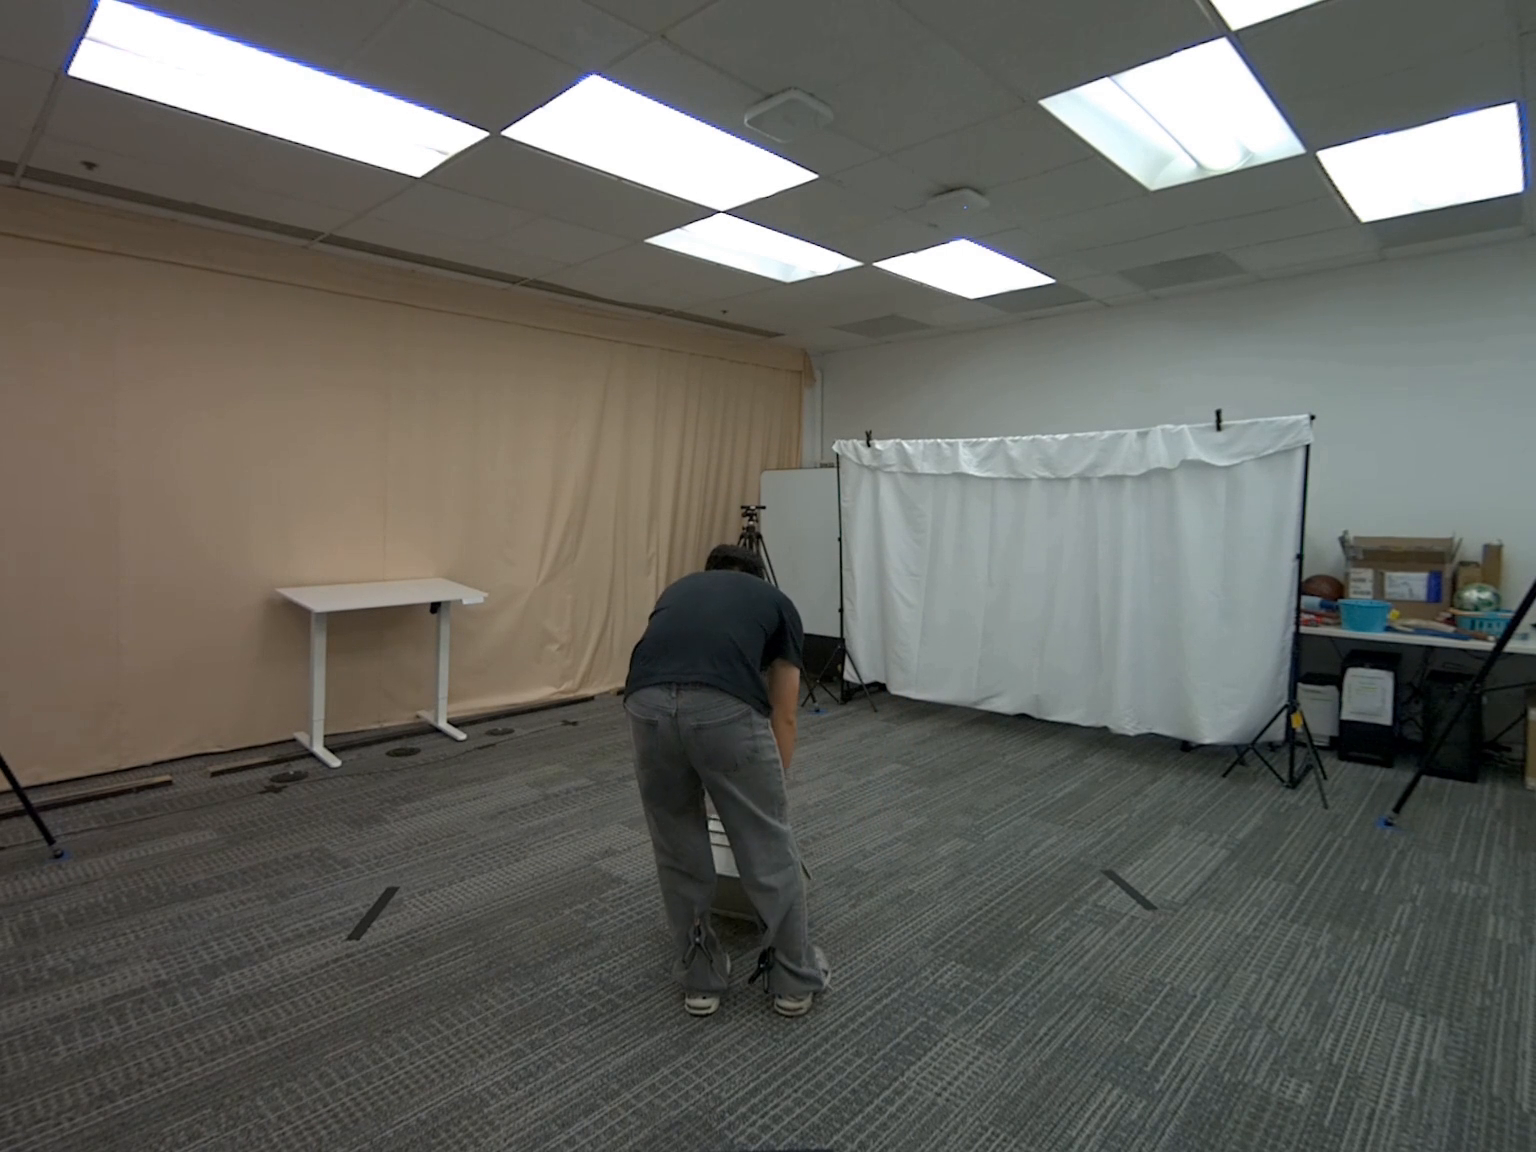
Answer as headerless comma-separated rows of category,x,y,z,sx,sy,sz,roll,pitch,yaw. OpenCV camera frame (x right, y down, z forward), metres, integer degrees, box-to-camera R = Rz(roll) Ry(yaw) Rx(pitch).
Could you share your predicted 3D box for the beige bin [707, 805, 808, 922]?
beige bin,-0.100,0.962,2.737,0.387,0.190,0.410,3,-40,23
